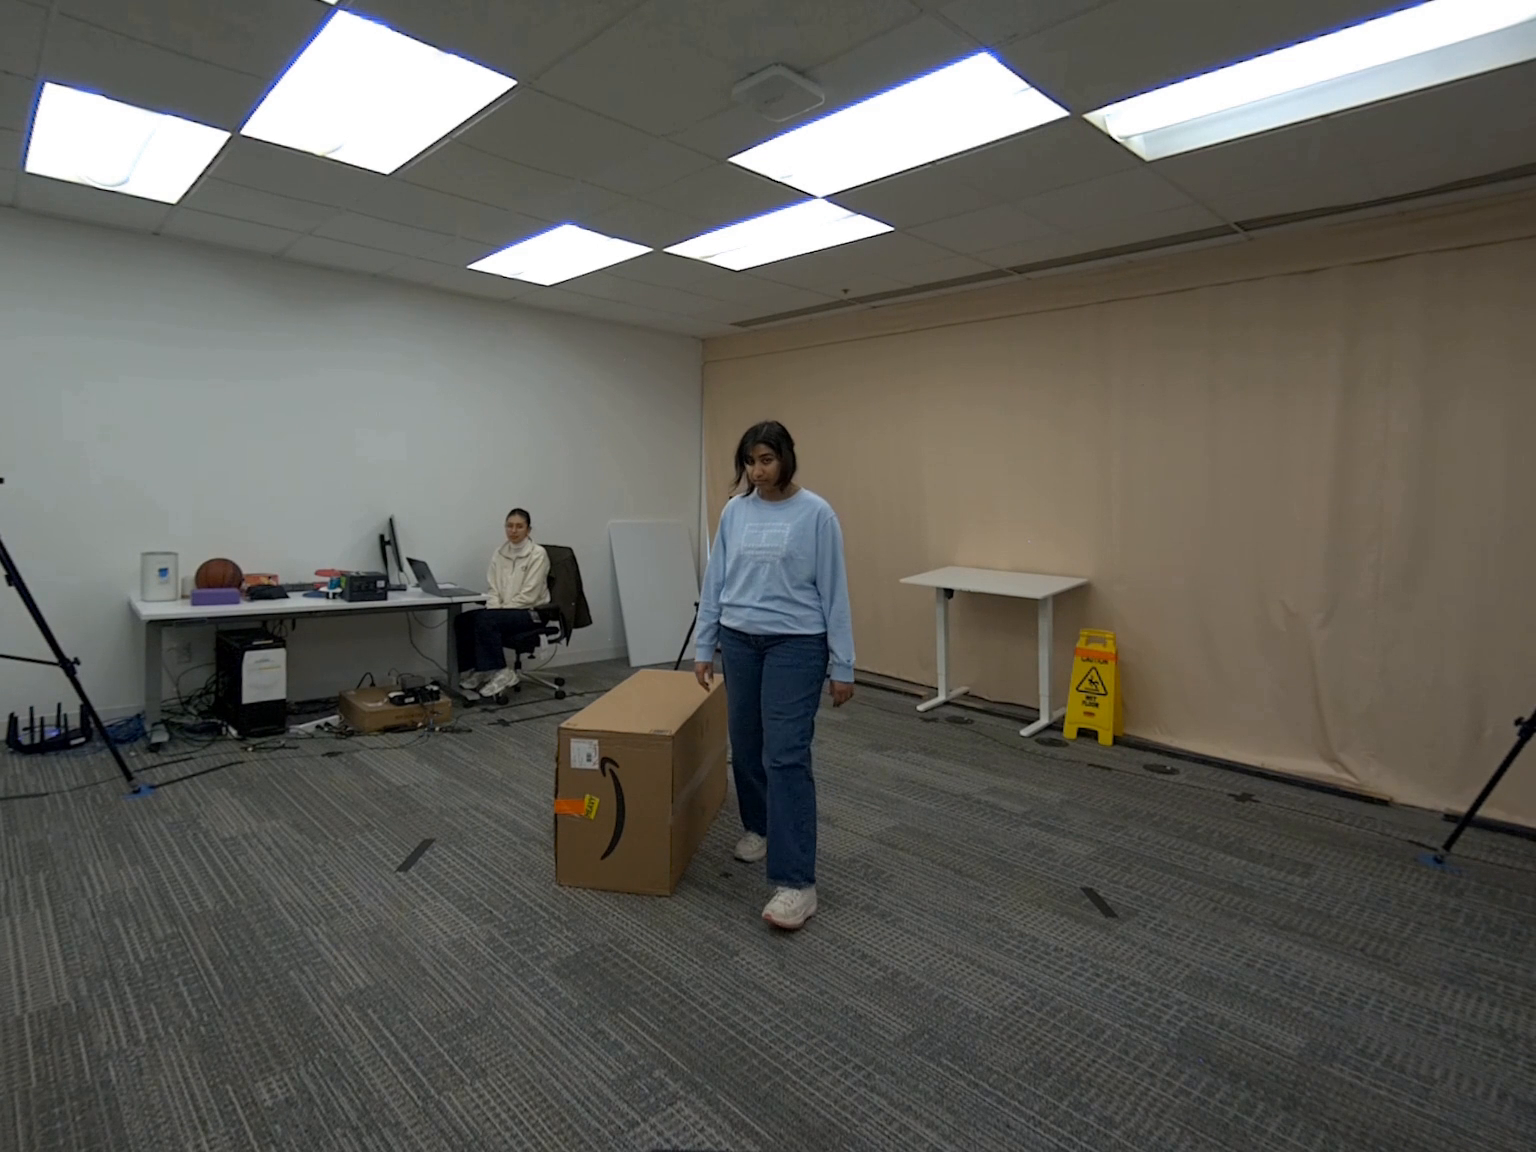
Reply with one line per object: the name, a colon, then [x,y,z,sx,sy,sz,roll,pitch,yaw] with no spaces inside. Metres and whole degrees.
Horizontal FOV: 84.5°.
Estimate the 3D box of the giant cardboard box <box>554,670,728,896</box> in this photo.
giant cardboard box: [-0.478,0.773,3.450,0.429,0.576,1.021,1,5,8]
